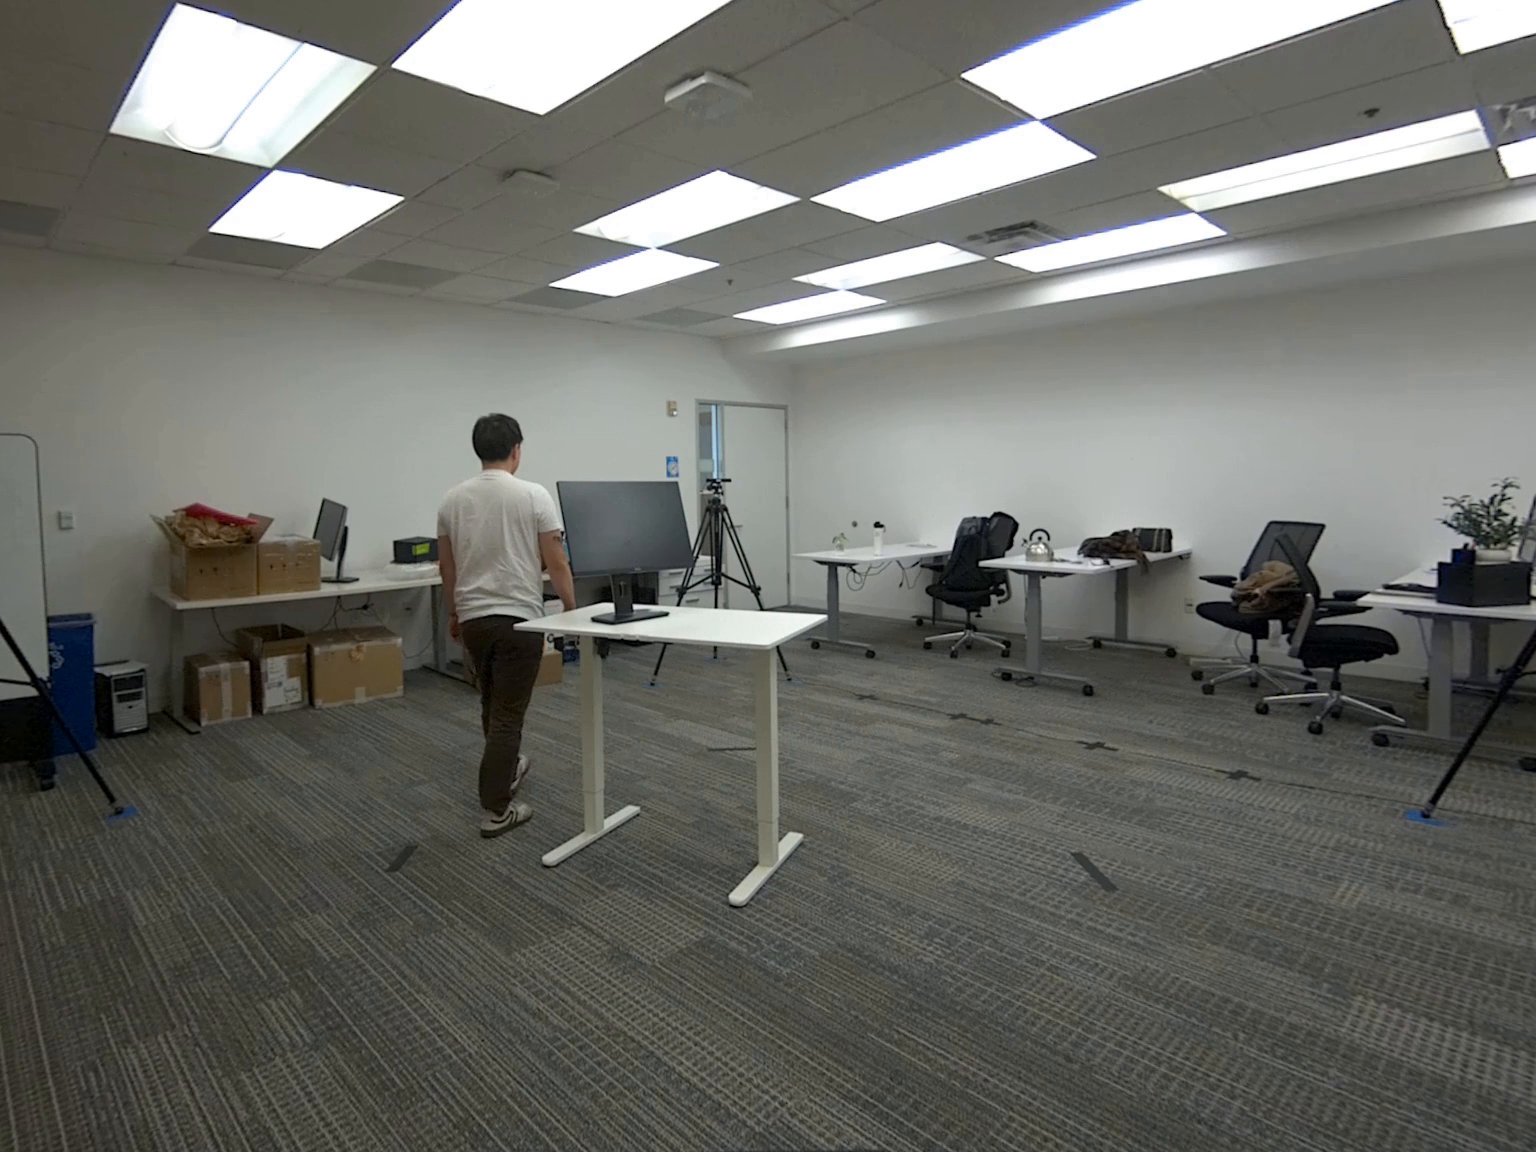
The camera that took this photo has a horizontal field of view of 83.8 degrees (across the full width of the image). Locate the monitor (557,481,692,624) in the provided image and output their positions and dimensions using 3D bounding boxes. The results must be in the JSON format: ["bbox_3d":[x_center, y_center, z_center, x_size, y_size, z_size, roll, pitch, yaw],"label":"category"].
[{"bbox_3d":[-0.536,-0.095,3.211,0.524,0.522,0.192,-4,1,-43],"label":"monitor"}]
